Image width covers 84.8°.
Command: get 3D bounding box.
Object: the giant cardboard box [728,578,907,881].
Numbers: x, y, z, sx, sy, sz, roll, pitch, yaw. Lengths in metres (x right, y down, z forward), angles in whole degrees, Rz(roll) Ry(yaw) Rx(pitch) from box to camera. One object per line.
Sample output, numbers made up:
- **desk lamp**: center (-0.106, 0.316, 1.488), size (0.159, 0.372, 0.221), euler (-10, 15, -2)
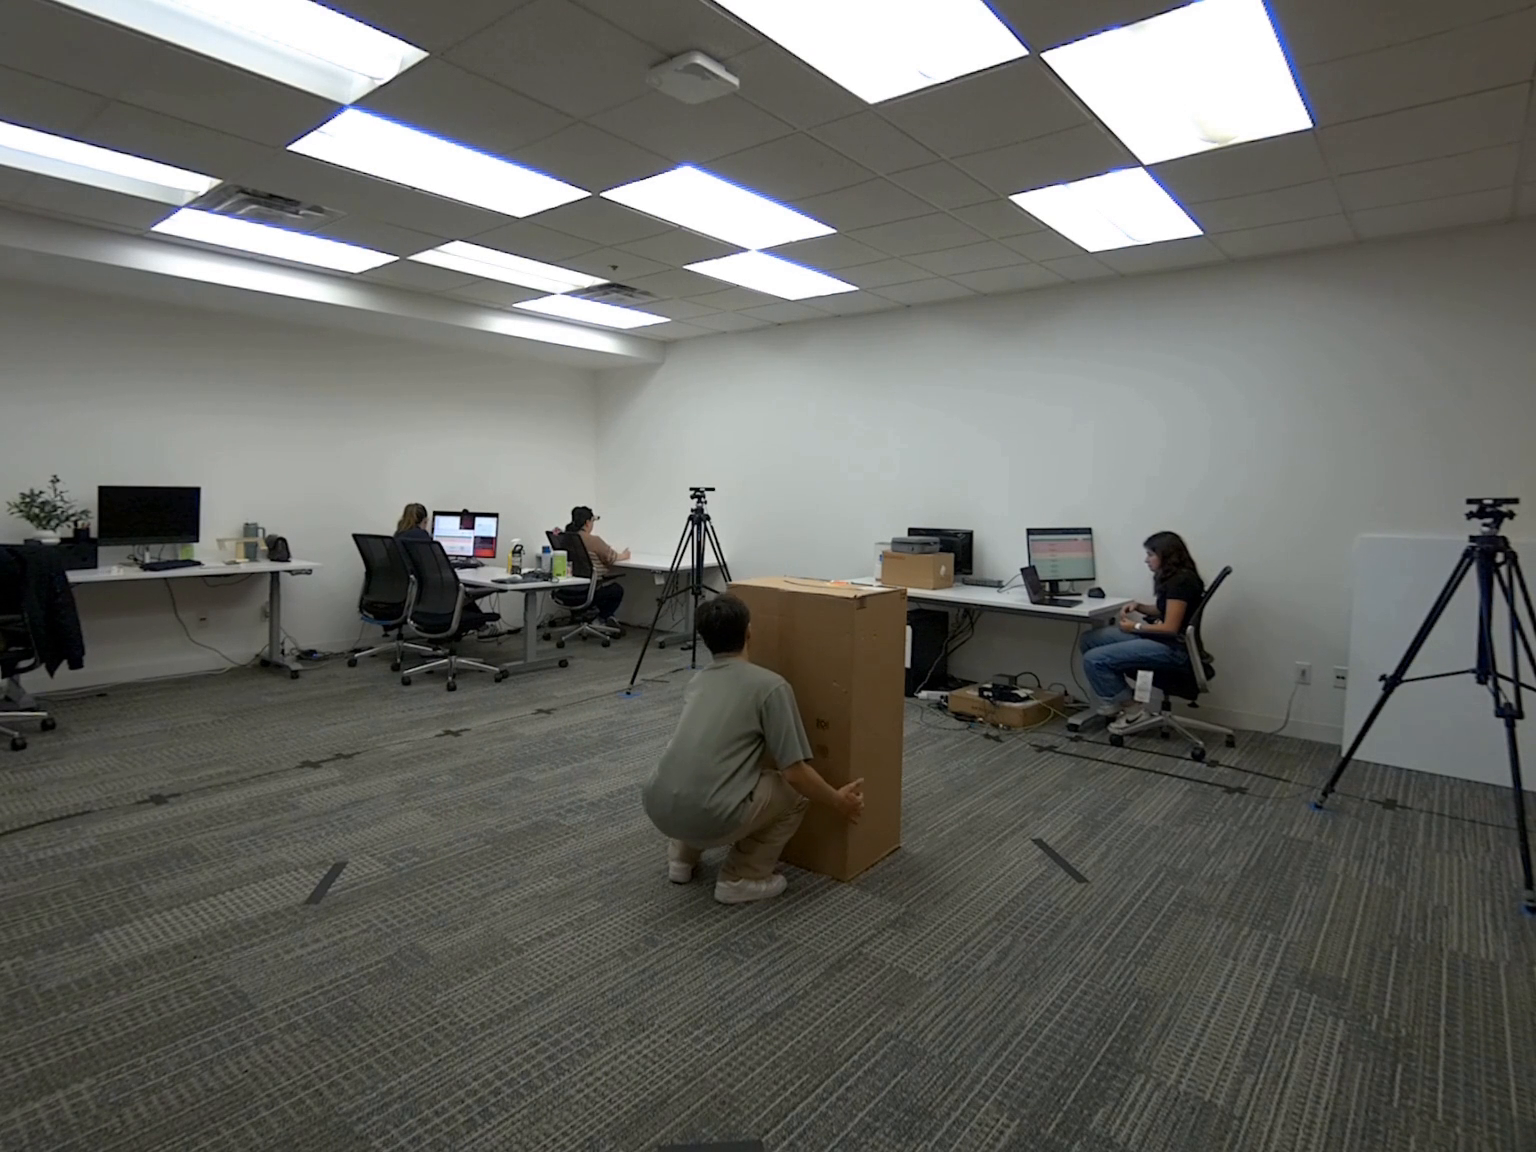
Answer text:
- **giant cardboard box**: center (0.171, 0.542, 3.332), size (0.596, 1.023, 0.414), euler (4, 4, 36)
